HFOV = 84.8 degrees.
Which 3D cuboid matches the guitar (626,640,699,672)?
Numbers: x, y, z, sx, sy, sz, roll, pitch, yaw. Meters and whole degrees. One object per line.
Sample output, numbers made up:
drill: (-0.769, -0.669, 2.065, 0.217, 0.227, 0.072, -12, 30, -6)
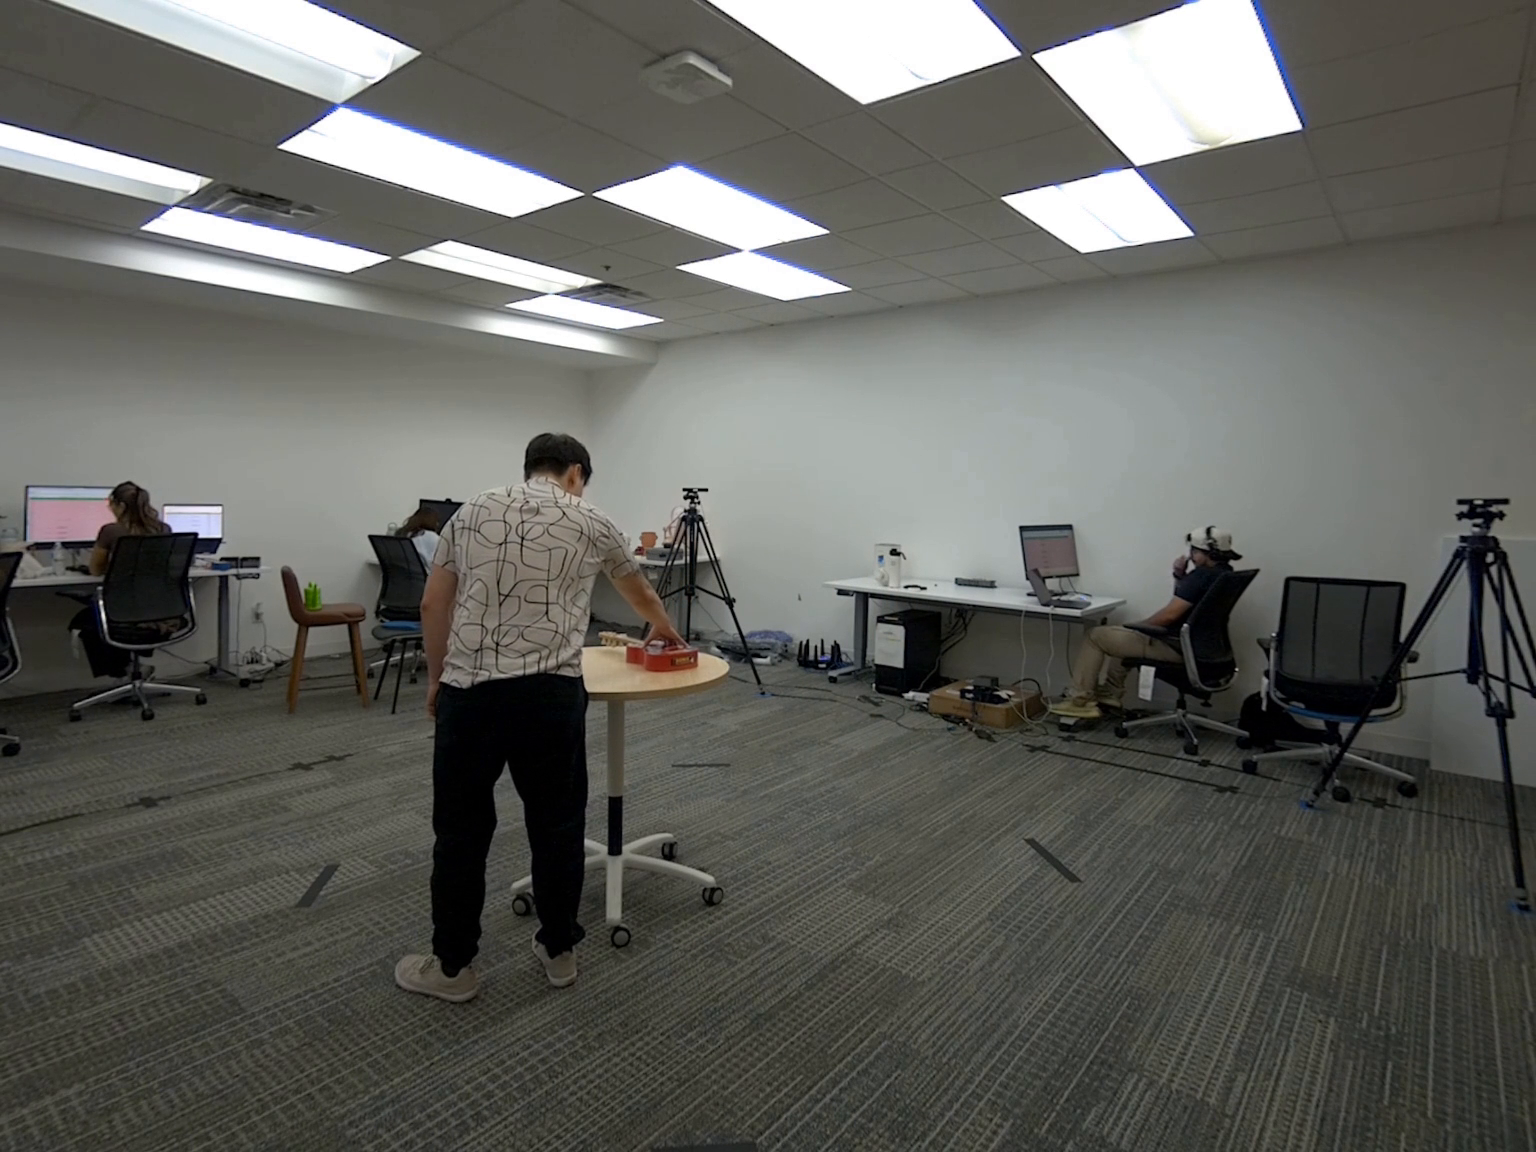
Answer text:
guitar: (-0.441, 0.259, 3.016, 0.188, 0.070, 0.513, -2, 6, -31)
